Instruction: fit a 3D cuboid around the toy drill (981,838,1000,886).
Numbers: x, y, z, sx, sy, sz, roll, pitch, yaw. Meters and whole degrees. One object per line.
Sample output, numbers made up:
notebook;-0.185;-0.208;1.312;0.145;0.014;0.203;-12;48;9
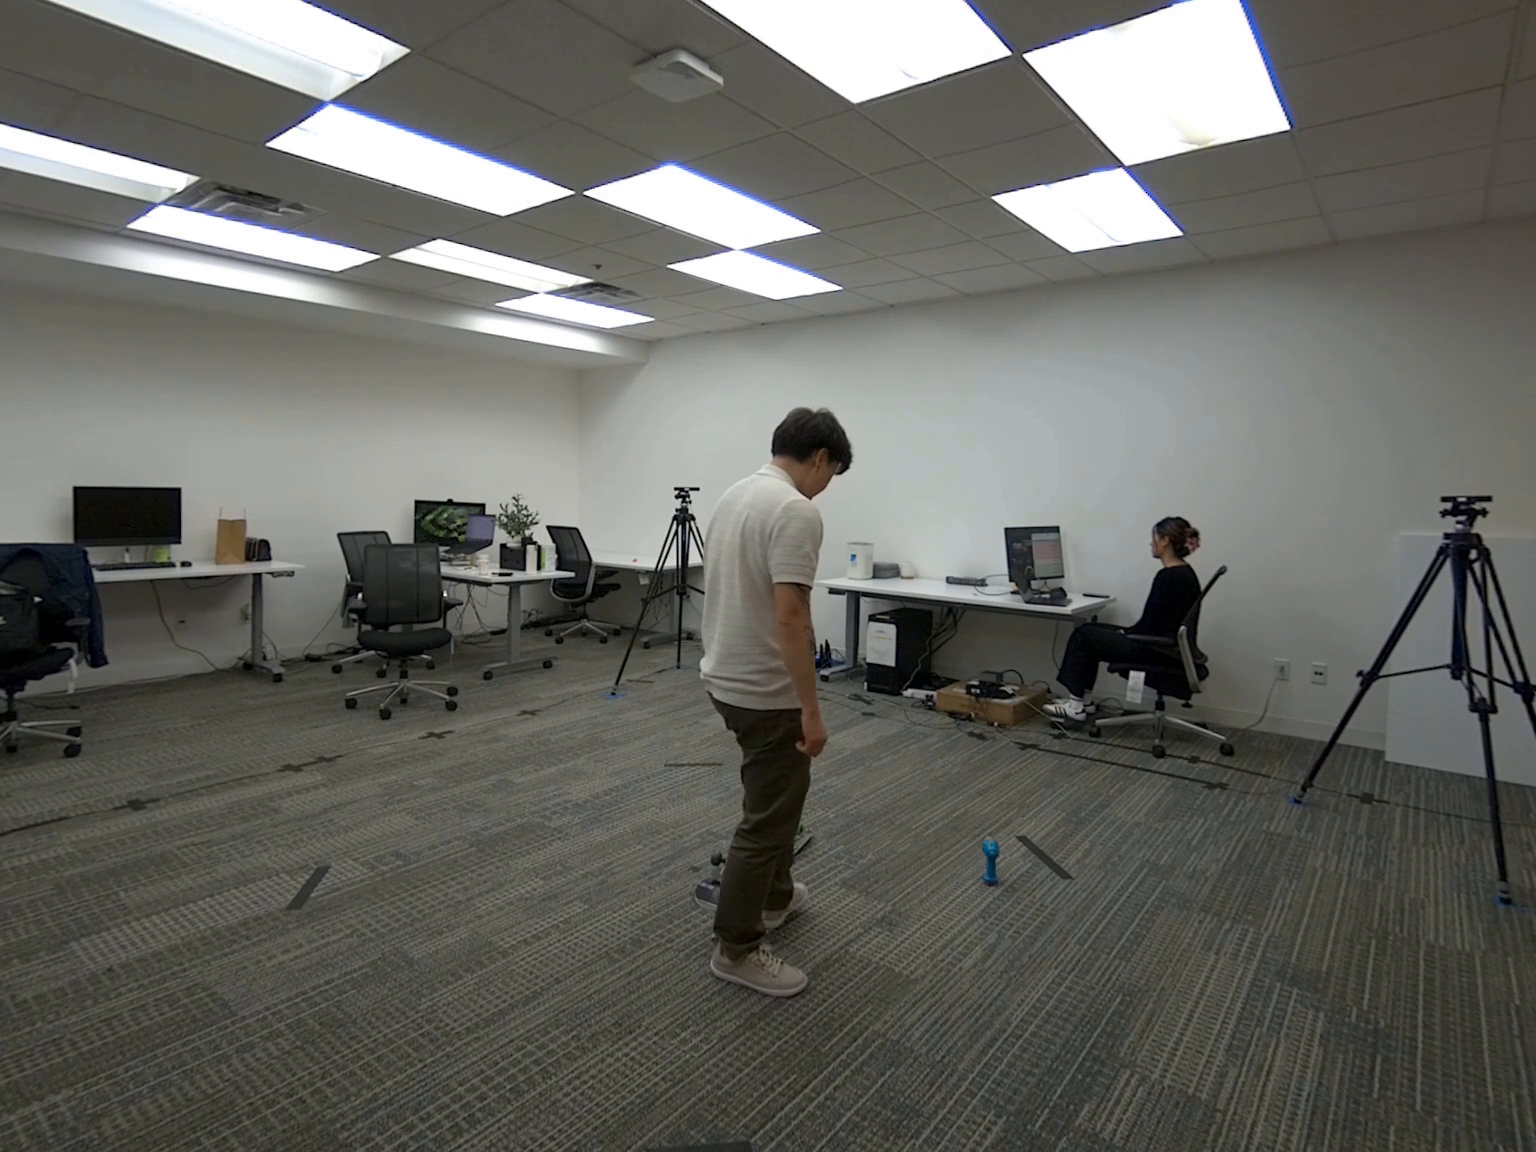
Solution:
toy drill;0.791;1.010;3.096;0.061;0.145;0.170;-2;5;2
